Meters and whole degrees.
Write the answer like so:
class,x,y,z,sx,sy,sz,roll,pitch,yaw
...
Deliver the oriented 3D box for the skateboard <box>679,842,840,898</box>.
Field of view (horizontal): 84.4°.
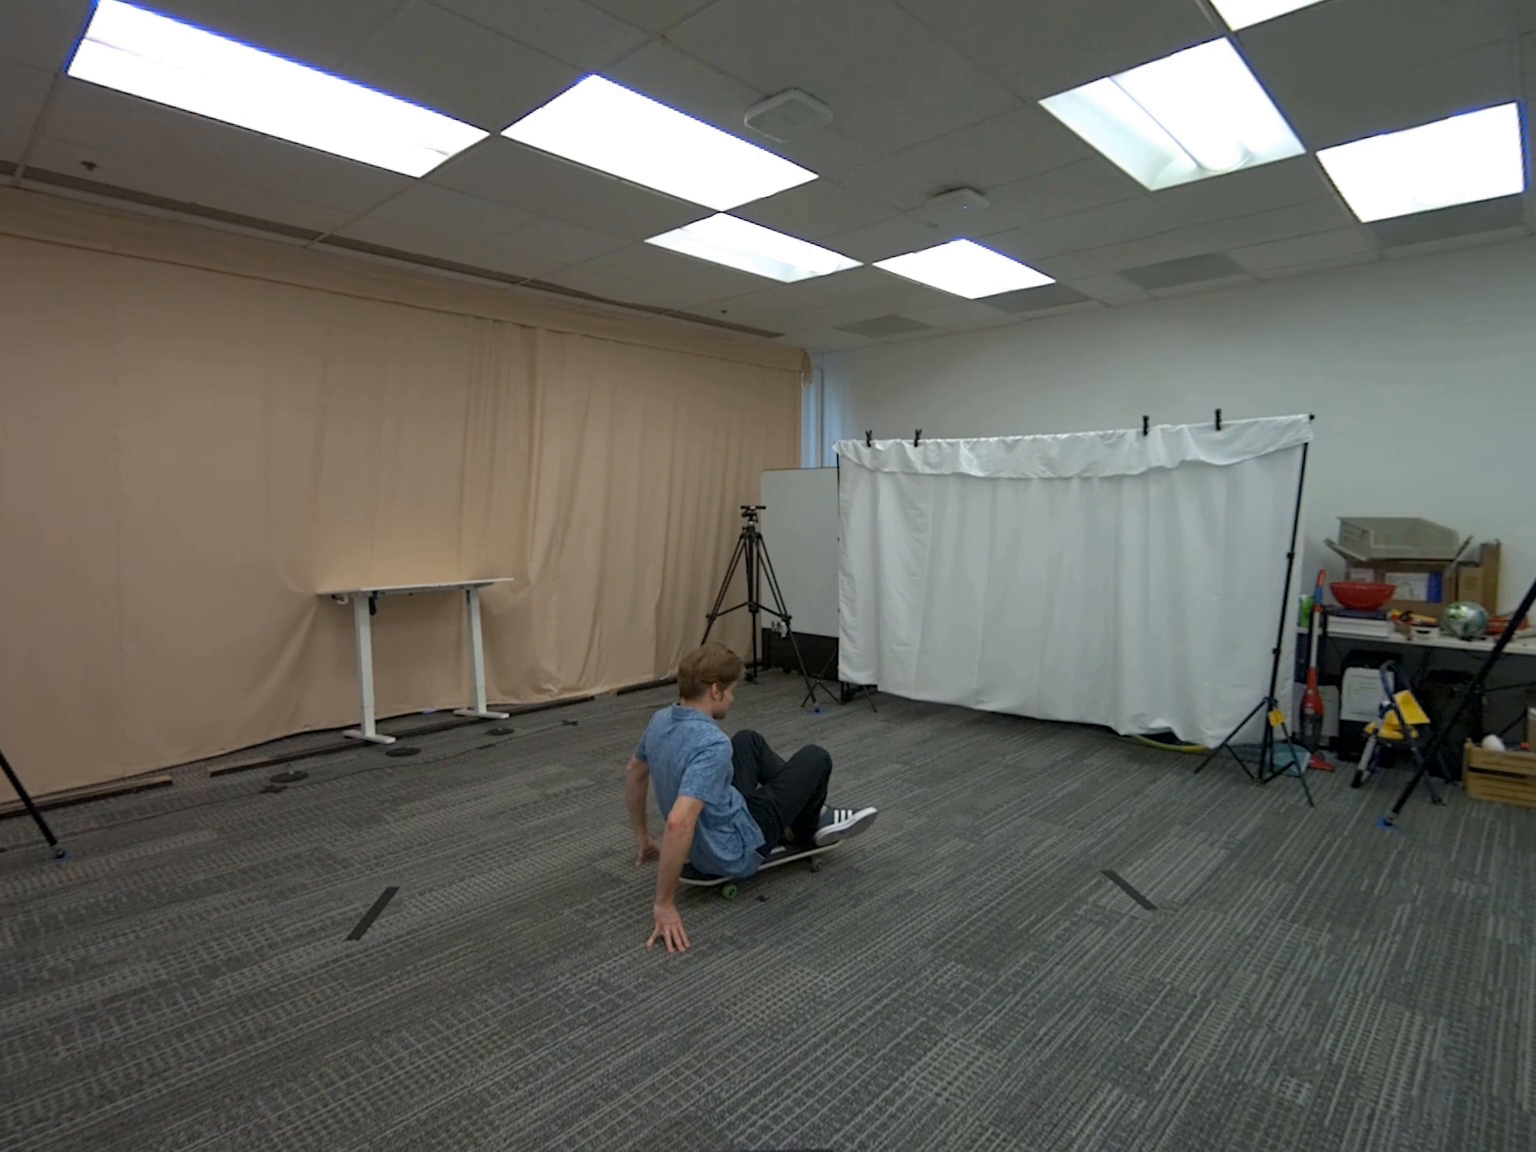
class,x,y,z,sx,sy,sz,roll,pitch,yaw
skateboard,-0.021,1.085,3.164,0.763,0.110,0.199,-4,1,-34
